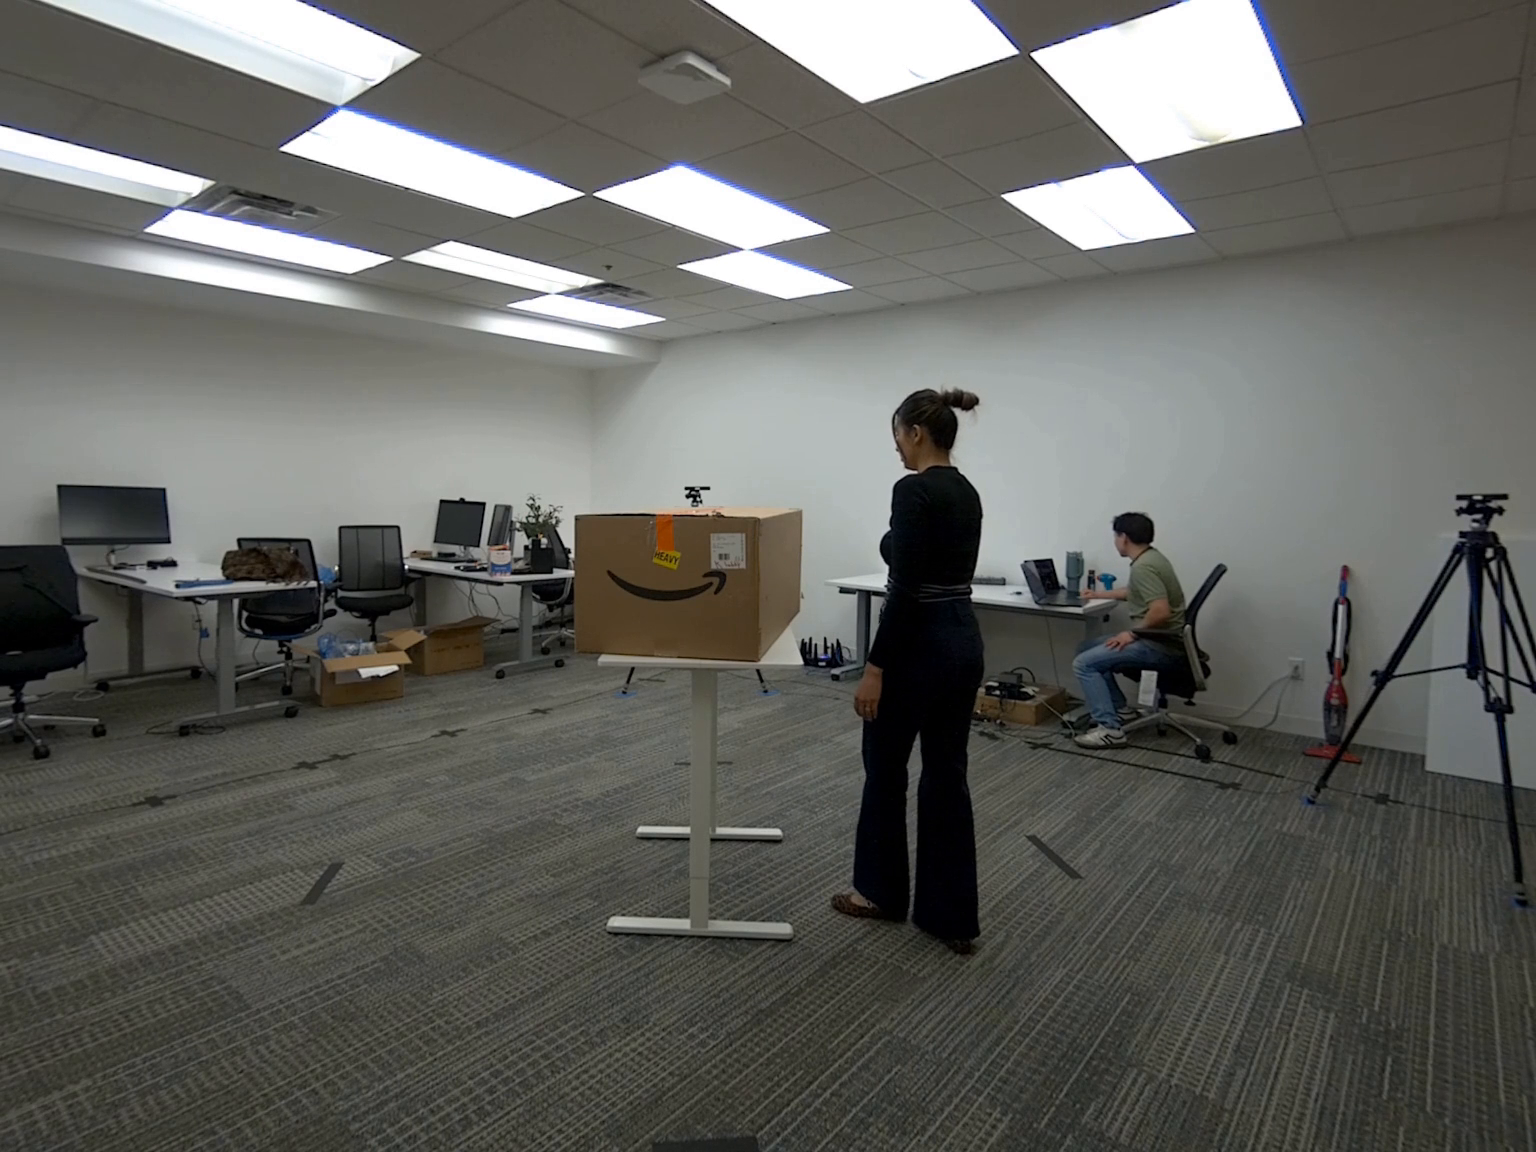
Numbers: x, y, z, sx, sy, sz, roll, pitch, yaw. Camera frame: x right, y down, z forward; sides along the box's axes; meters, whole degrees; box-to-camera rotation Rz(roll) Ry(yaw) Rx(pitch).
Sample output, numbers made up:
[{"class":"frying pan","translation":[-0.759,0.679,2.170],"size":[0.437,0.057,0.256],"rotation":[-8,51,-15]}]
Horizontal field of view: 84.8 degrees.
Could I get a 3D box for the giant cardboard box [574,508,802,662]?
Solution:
[{"class":"giant cardboard box","translation":[-0.243,-0.023,3.033],"size":[0.586,0.424,1.016],"rotation":[2,6,12]}]
